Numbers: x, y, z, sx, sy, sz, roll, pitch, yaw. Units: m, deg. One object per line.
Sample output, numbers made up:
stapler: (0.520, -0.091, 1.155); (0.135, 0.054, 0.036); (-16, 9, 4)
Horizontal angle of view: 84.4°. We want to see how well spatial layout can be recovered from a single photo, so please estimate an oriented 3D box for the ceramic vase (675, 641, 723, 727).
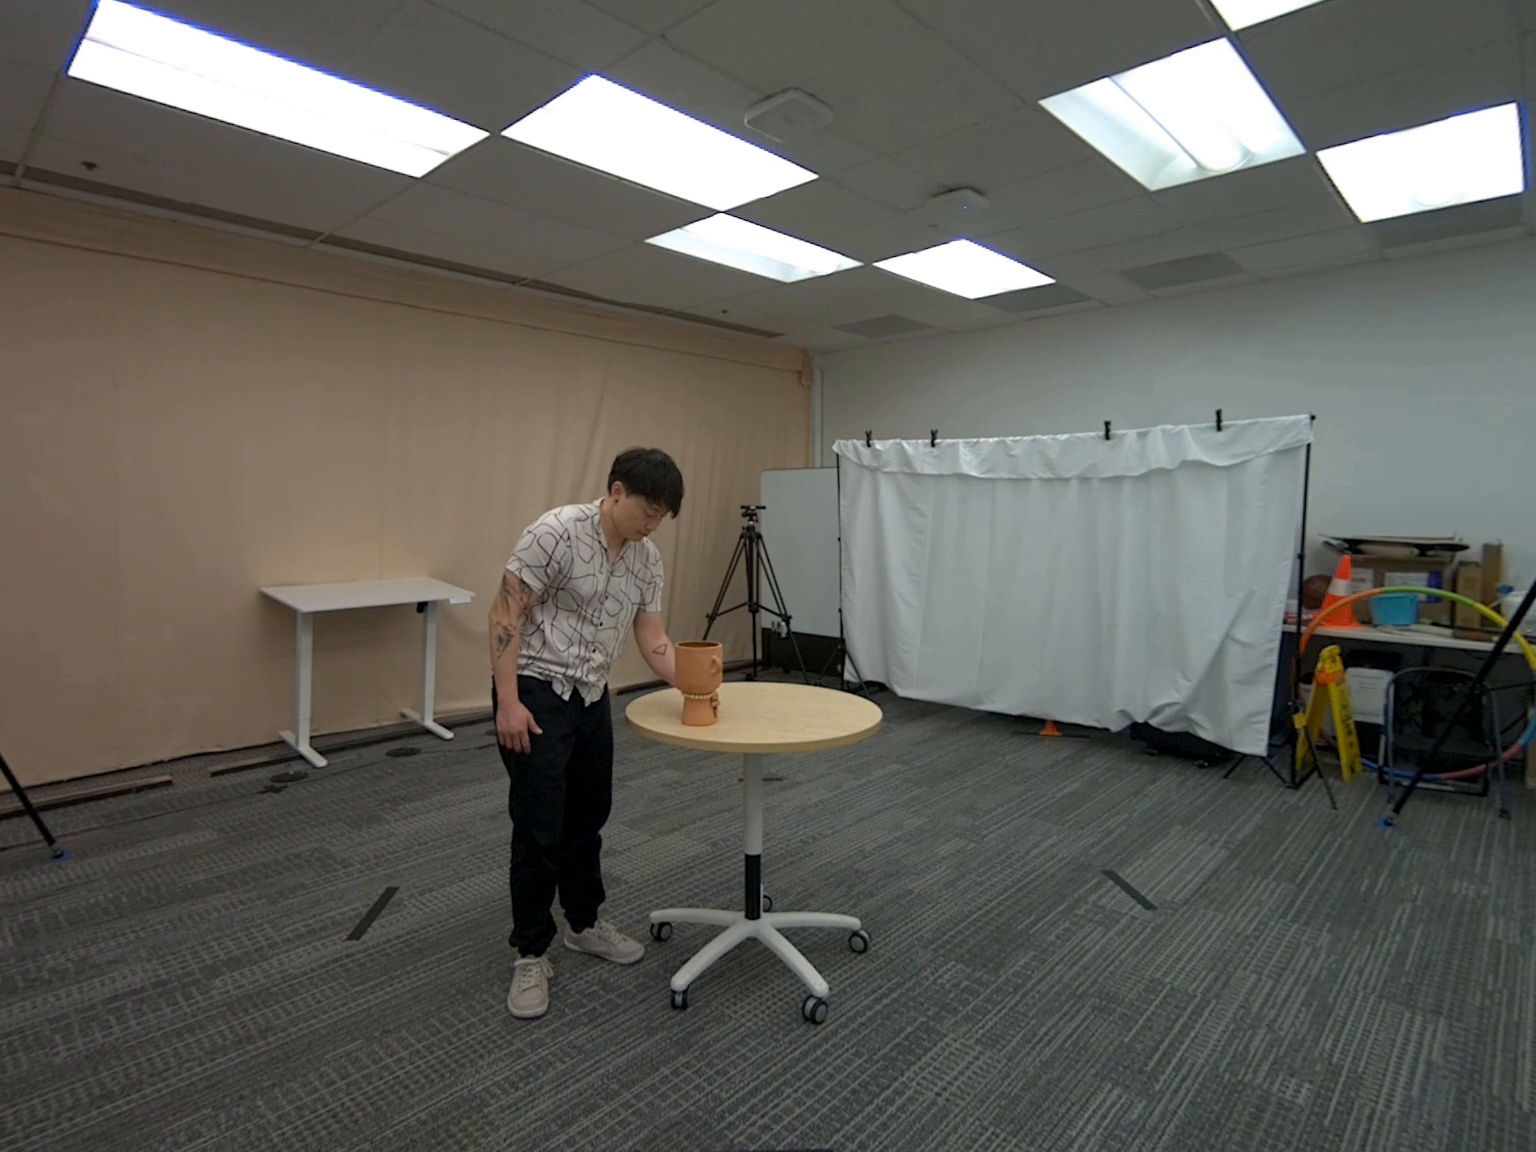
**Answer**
ceramic vase: (-0.200, 0.307, 2.340); (0.134, 0.219, 0.159); (0, 5, -2)
